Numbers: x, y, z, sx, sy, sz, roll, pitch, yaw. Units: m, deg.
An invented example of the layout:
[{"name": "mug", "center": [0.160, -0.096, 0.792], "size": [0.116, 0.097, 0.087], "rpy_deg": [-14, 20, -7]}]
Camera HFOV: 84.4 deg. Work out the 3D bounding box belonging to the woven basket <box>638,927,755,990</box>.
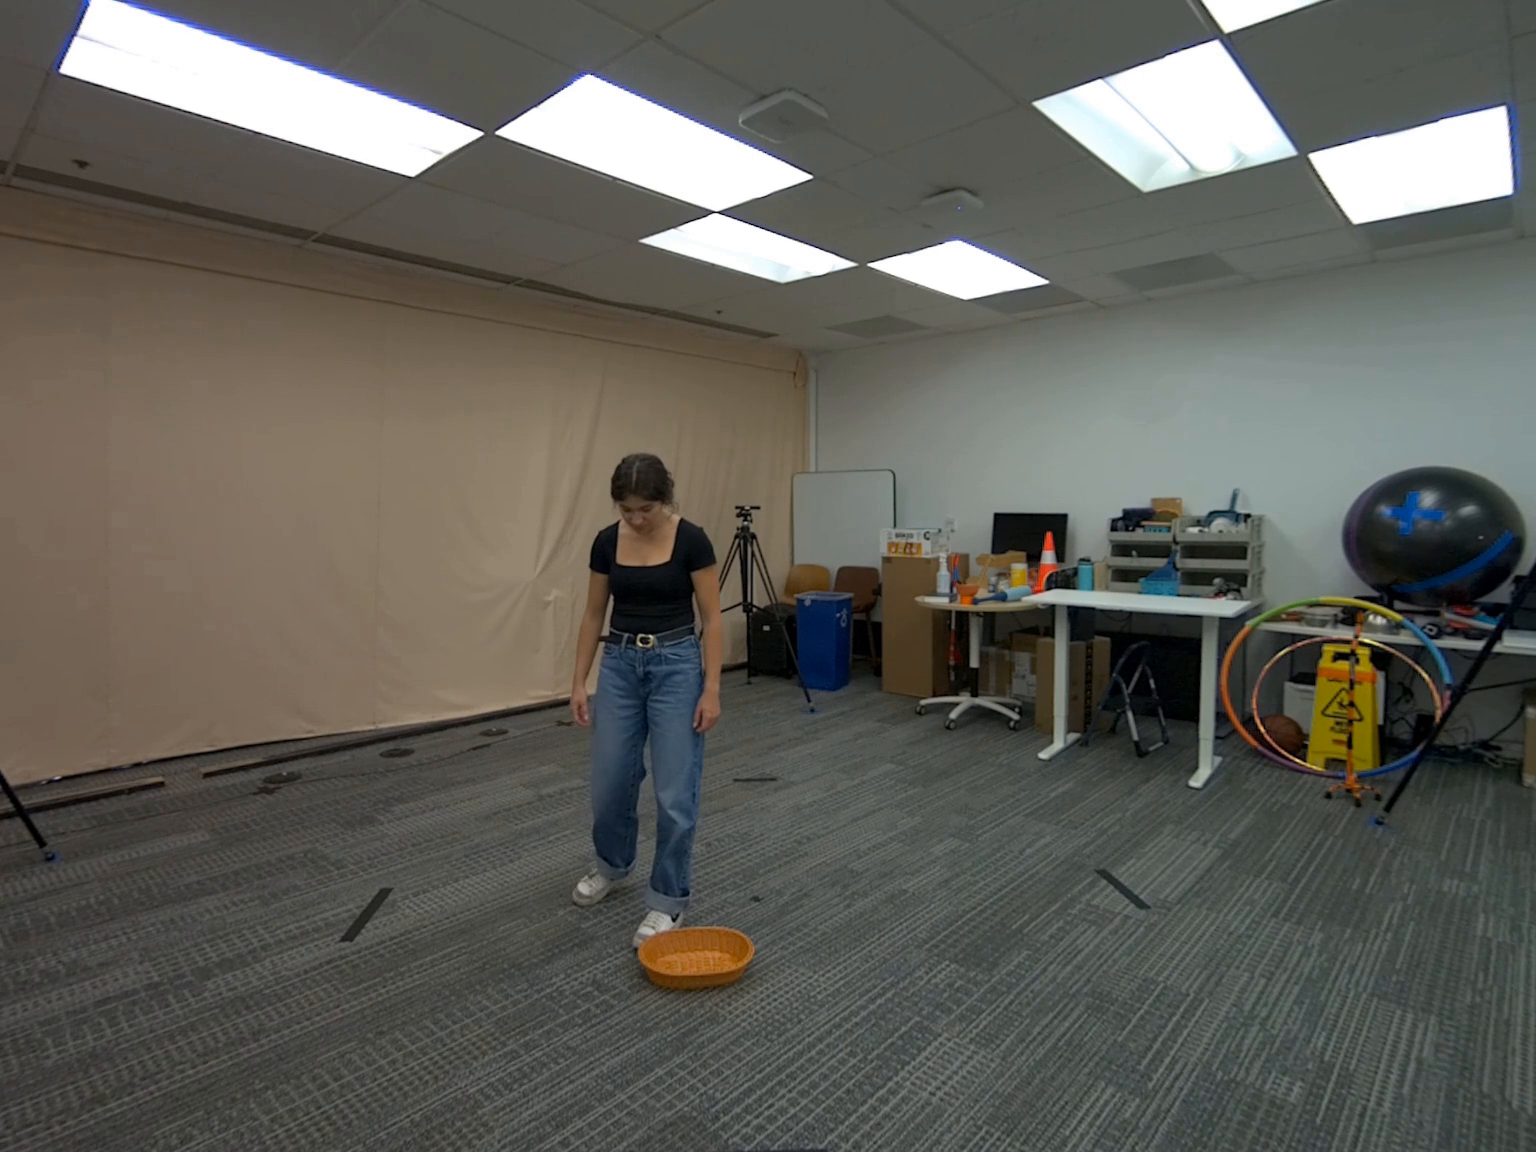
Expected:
[{"name": "woven basket", "center": [-0.210, 1.147, 2.510], "size": [0.348, 0.073, 0.255], "rpy_deg": [0, 6, -7]}]
